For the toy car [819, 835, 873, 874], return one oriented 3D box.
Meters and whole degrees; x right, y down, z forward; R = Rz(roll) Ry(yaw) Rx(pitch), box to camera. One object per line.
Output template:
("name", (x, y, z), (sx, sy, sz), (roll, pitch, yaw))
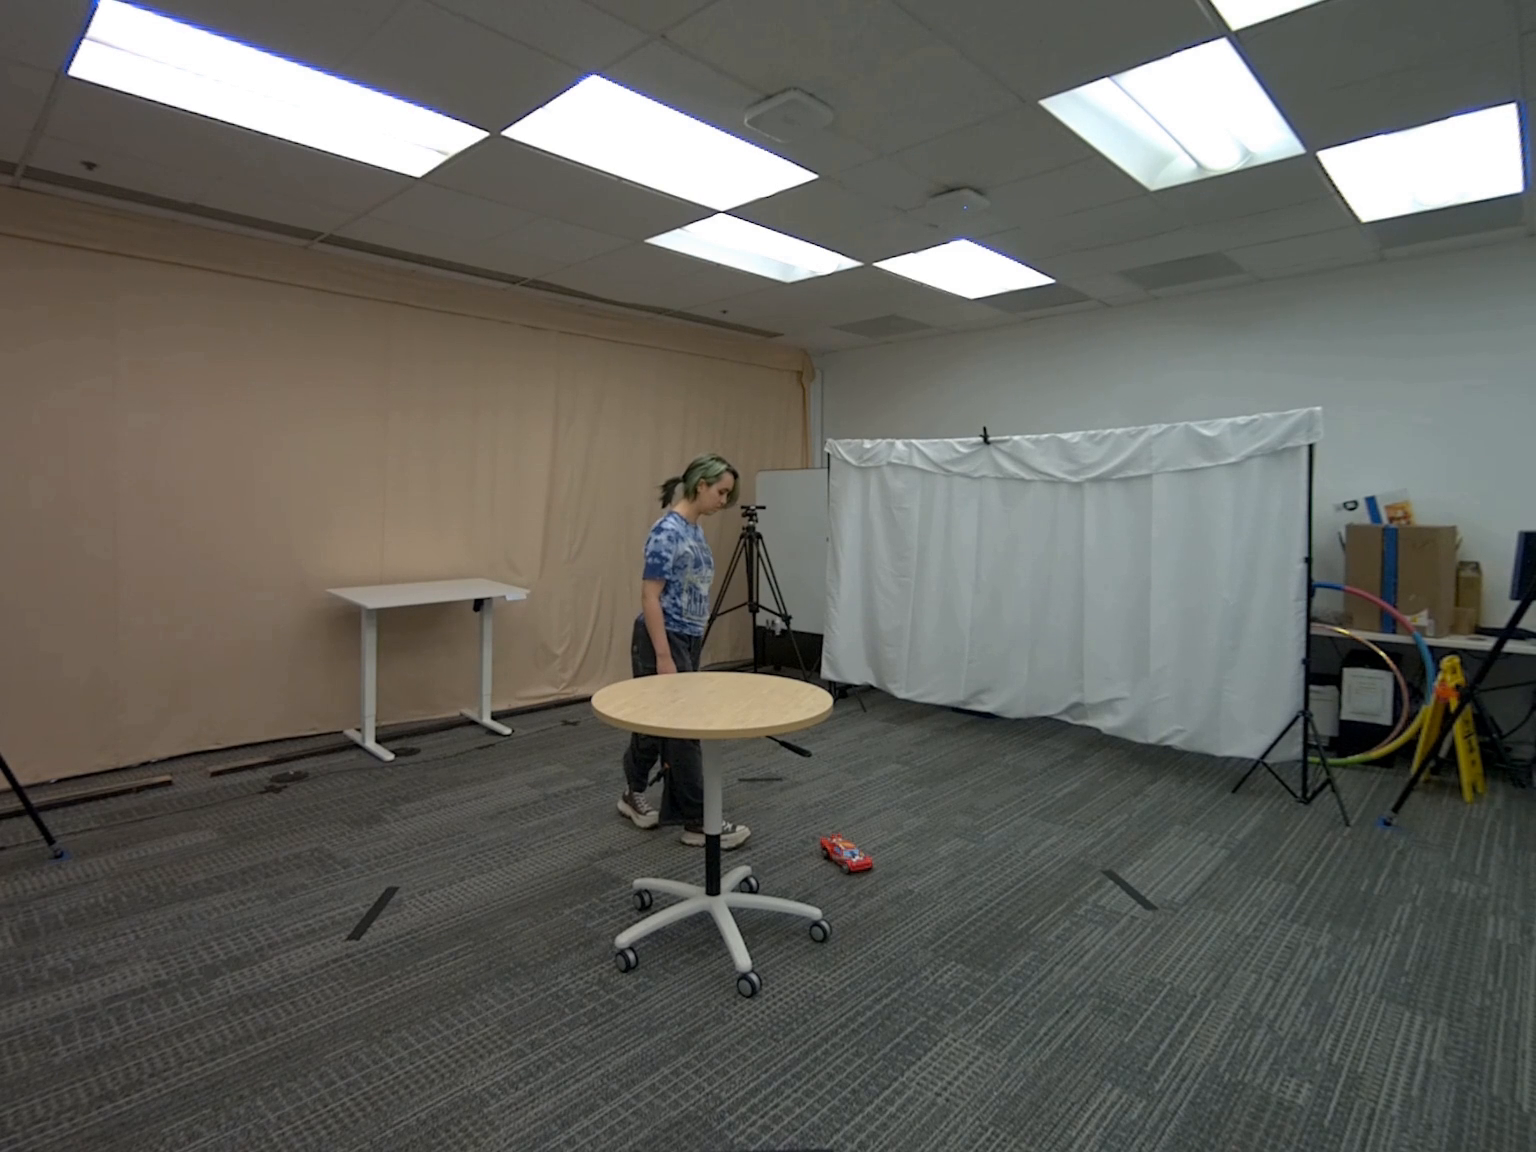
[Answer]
("toy car", (0.301, 1.082, 3.289), (0.127, 0.082, 0.263), (-1, 15, -27))
